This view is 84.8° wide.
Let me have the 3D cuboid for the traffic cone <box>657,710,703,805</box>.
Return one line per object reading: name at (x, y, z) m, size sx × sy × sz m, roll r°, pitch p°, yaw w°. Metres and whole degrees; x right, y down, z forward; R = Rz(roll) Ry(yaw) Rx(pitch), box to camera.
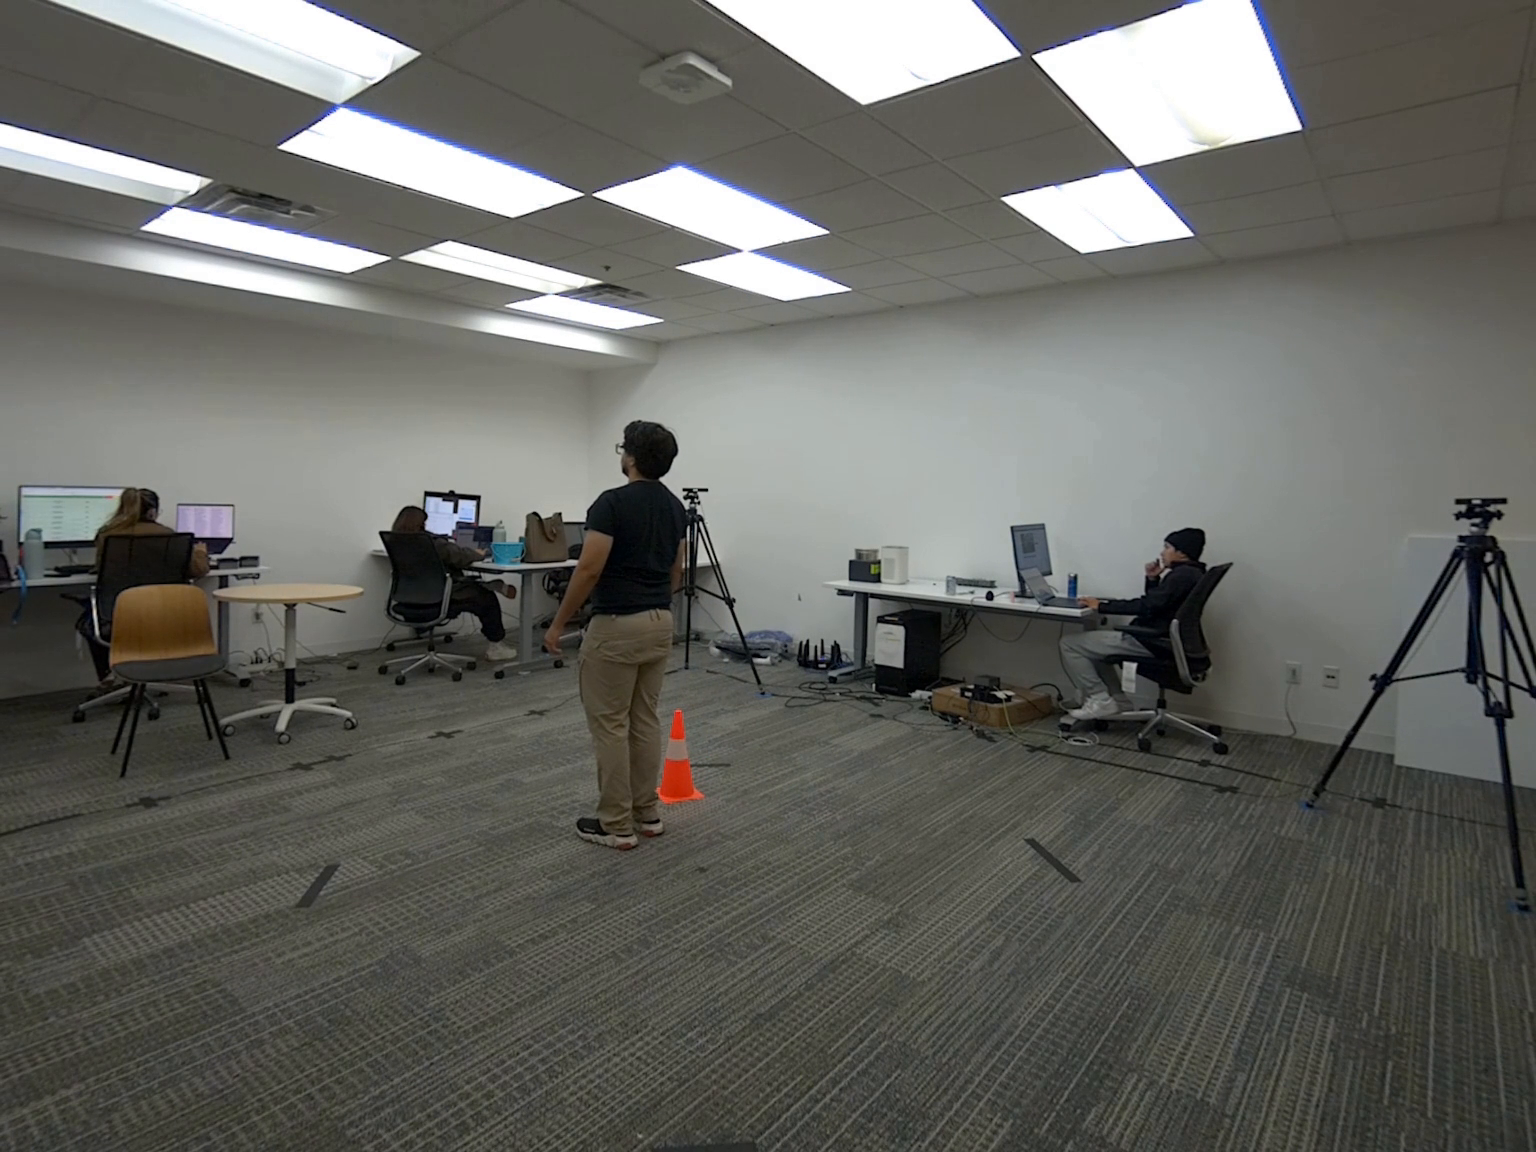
traffic cone at (-0.424, 0.806, 3.891) m, size 0.199 × 0.383 × 0.209 m, roll 0°, pitch 4°, yaw -29°
